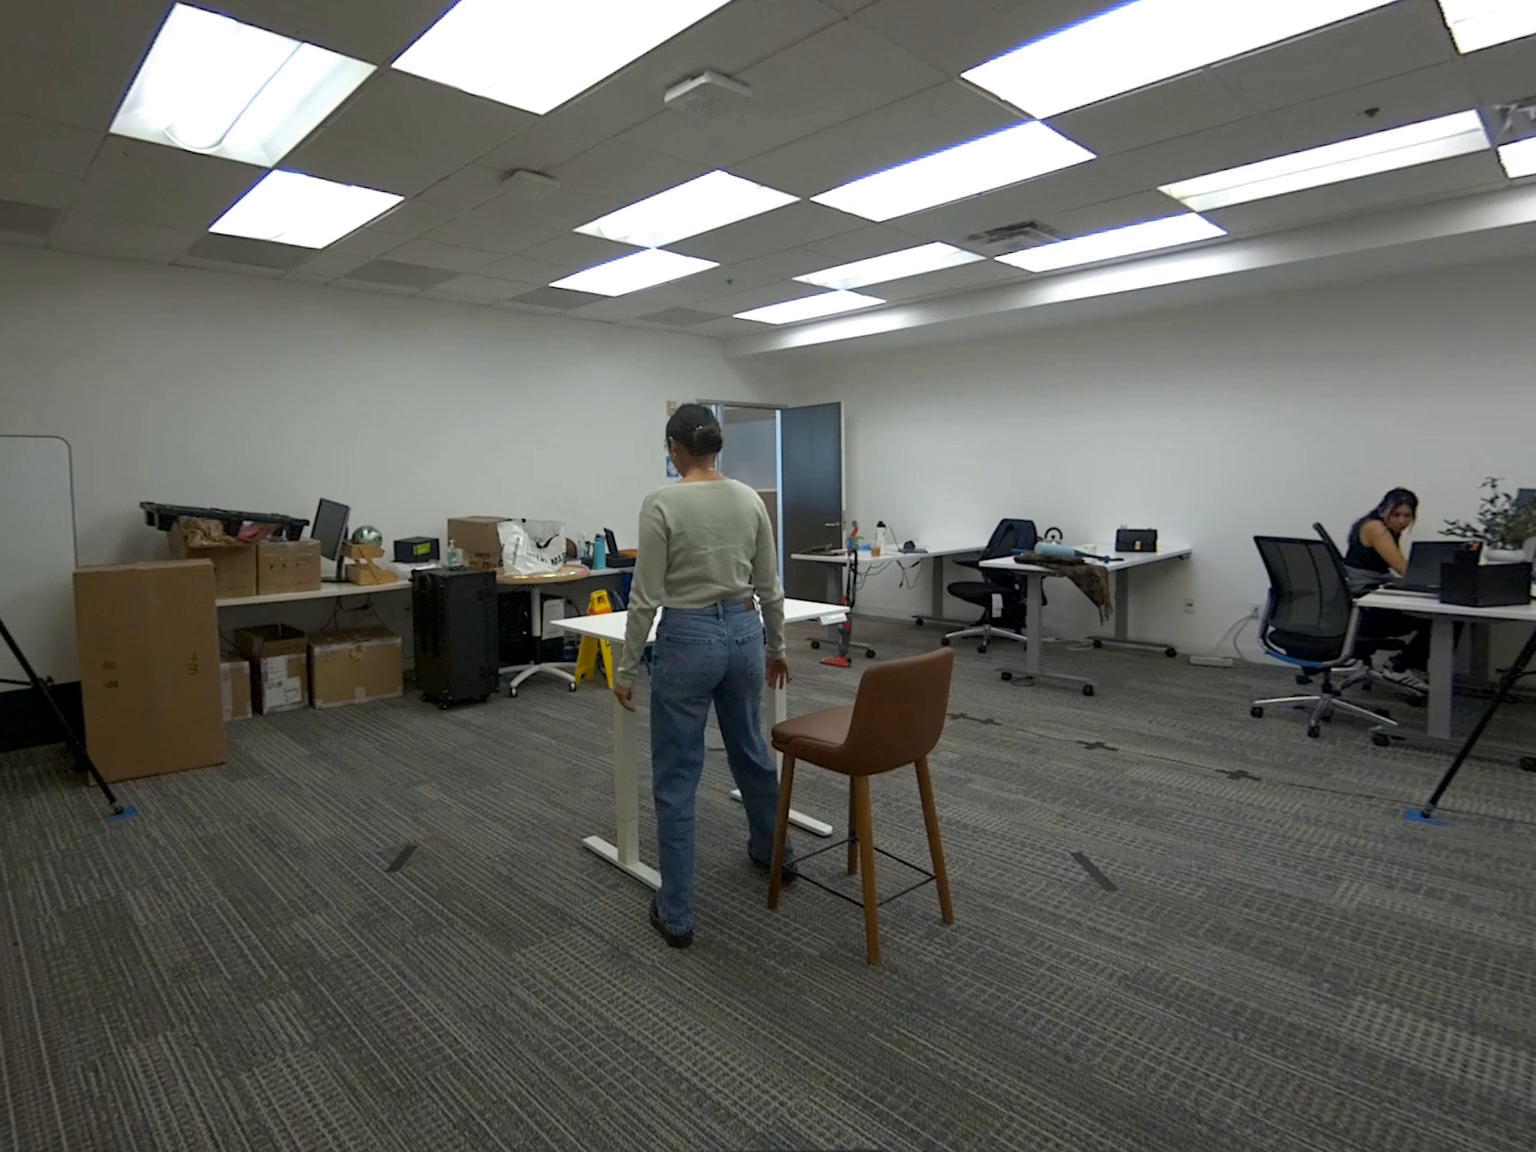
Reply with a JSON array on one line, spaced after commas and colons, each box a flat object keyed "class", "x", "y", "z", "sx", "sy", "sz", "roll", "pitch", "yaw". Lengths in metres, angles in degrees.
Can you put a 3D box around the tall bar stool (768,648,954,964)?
[{"class": "tall bar stool", "x": 0.294, "y": 0.645, "z": 2.700, "sx": 0.445, "sy": 0.885, "sz": 0.482, "roll": -5, "pitch": 8, "yaw": -39}]
